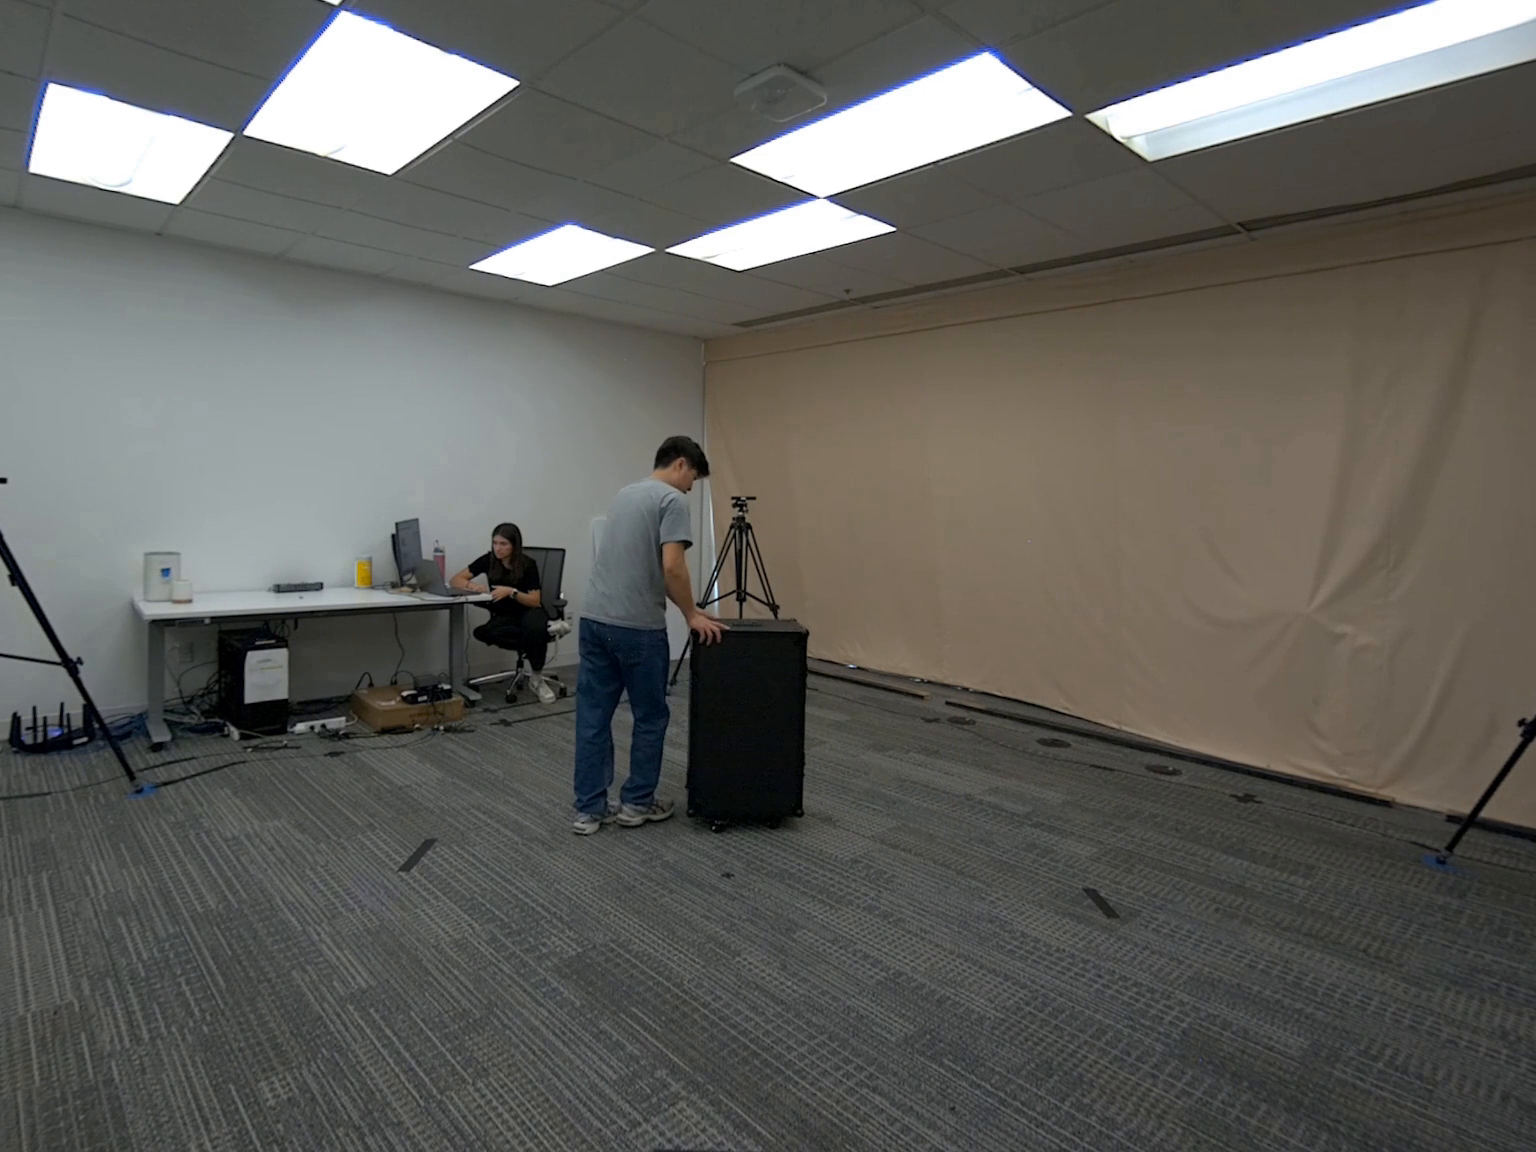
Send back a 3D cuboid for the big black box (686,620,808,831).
[{"bbox_3d":[-0.116,0.634,3.665,0.519,0.860,0.398,2,2,-5],"label":"big black box"}]
